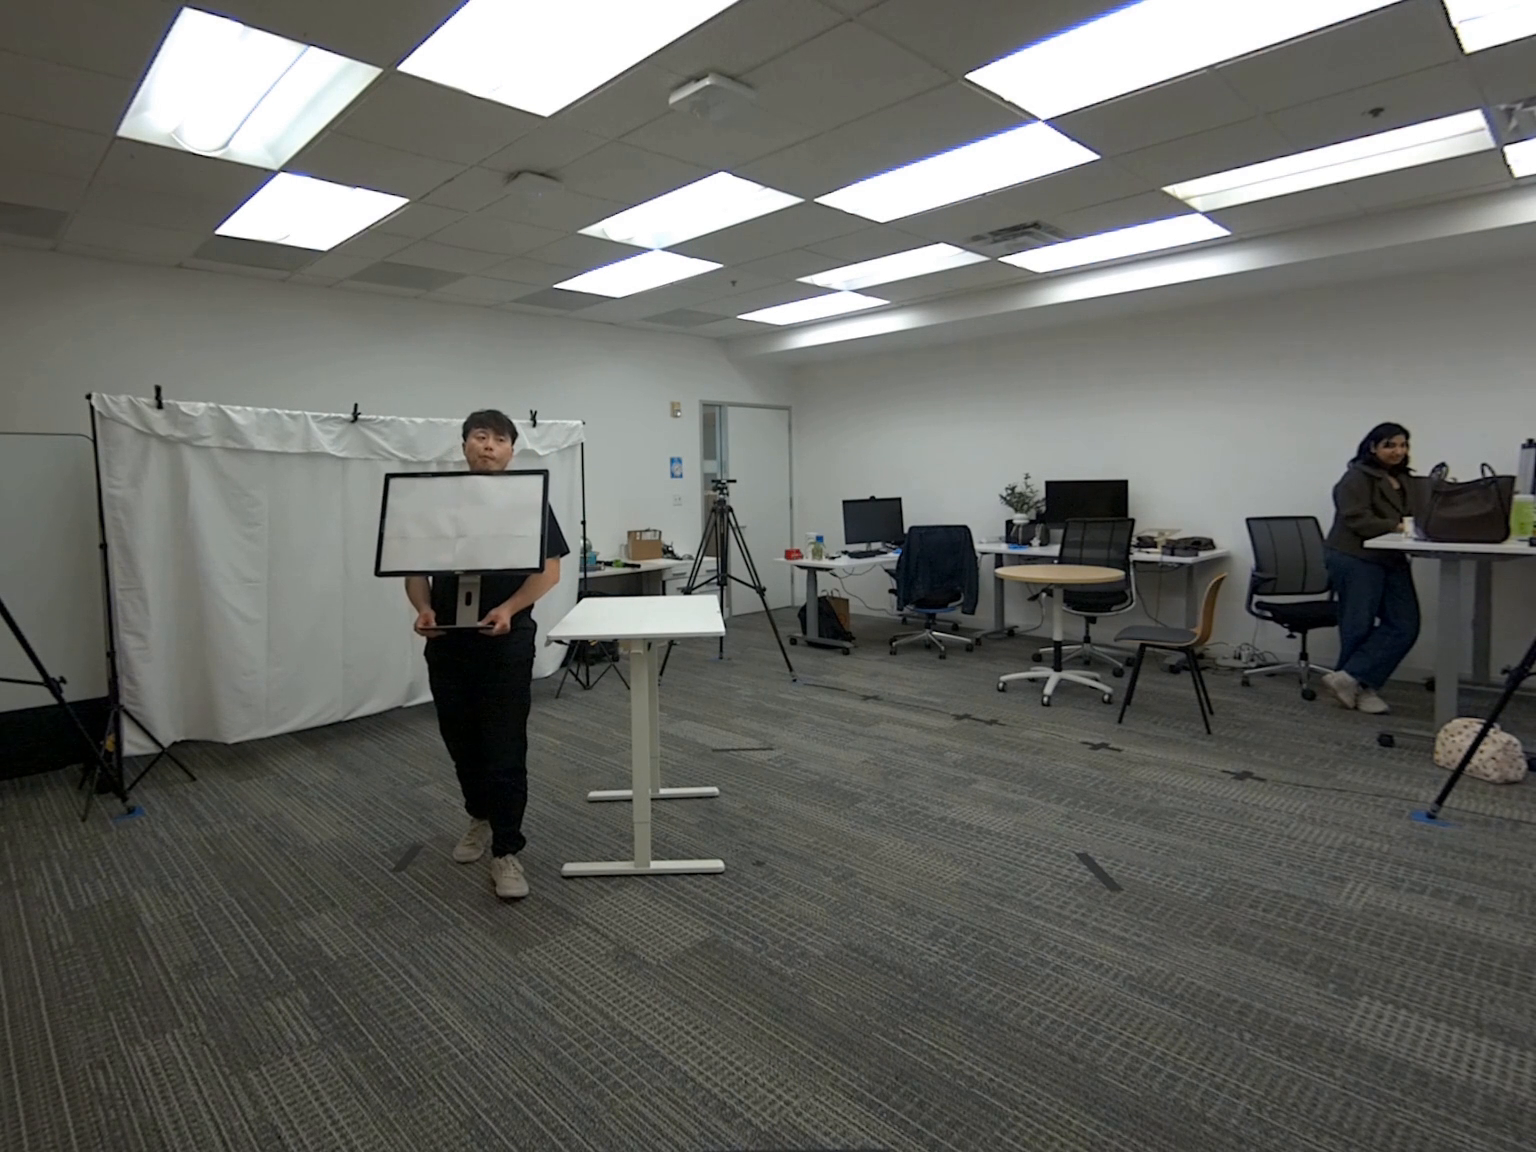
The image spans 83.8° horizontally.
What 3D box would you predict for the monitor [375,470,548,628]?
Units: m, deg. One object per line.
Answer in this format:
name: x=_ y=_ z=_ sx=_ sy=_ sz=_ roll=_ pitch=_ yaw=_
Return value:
monitor: x=-1.027 y=-0.080 z=2.874 sx=0.539 sy=0.525 sz=0.186 roll=-2 pitch=-6 yaw=-1
